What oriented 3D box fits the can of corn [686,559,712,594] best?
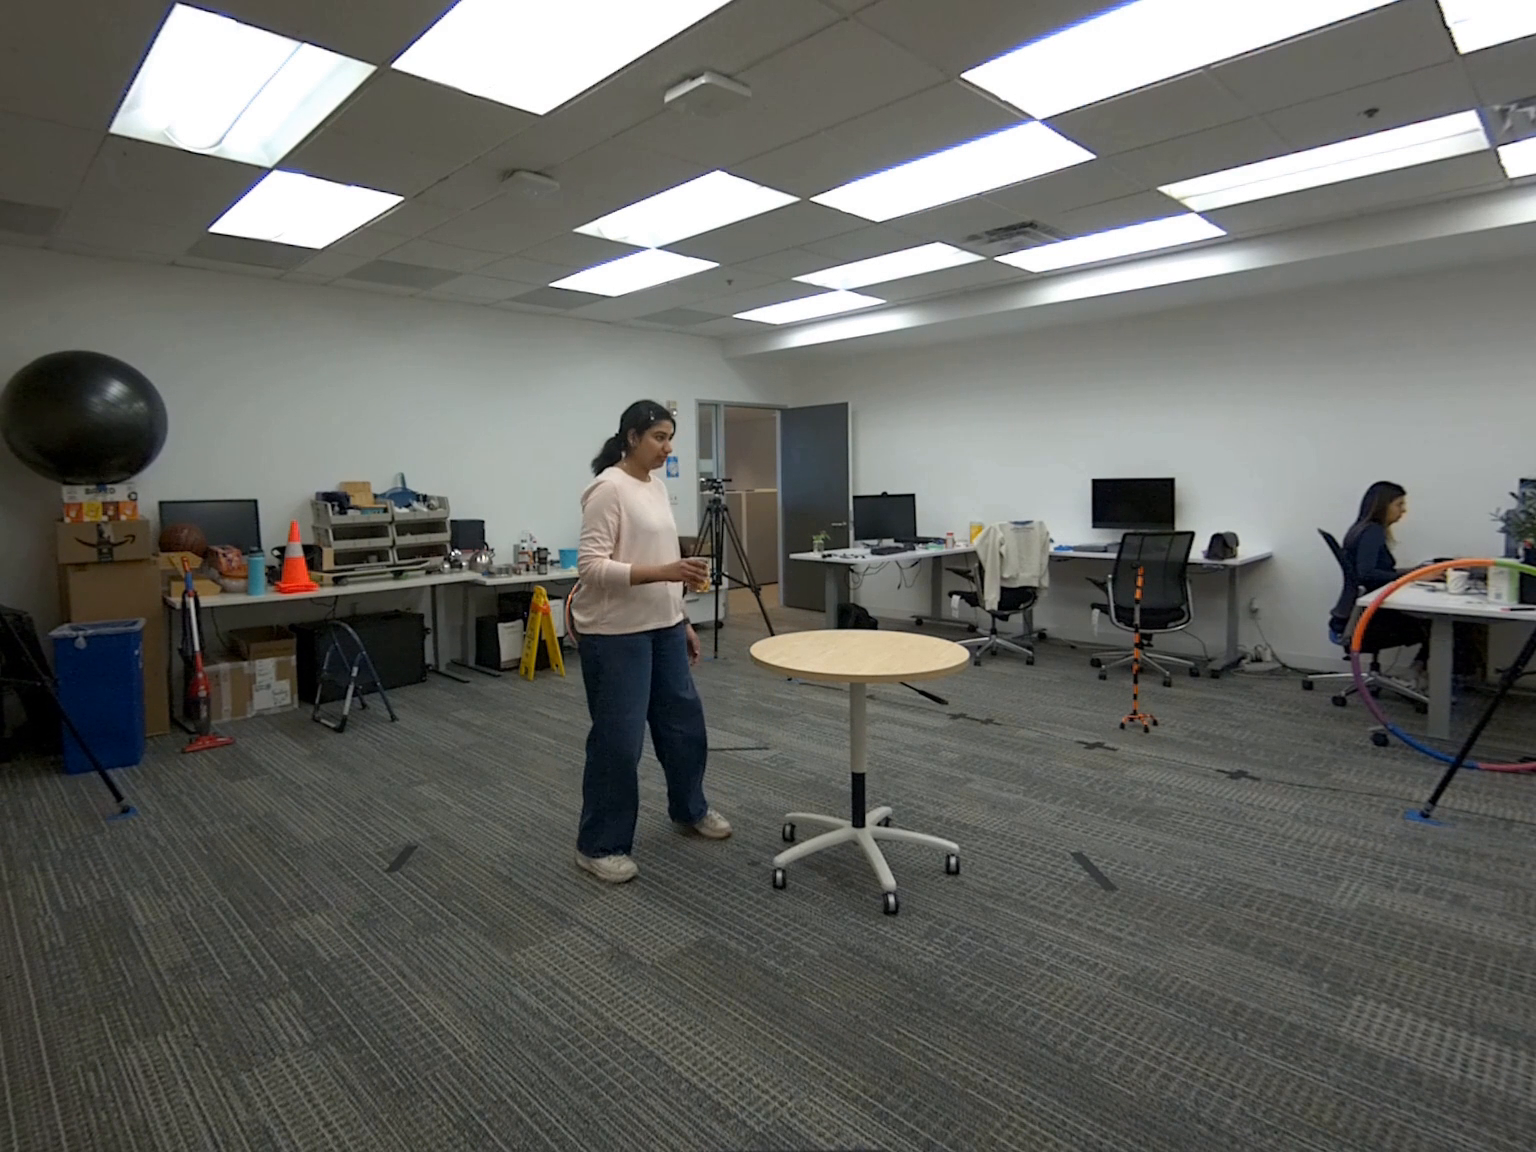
[{"bbox_3d":[-0.239,-0.005,2.896,0.074,0.110,0.074,-1,5,-2],"label":"can of corn"}]
